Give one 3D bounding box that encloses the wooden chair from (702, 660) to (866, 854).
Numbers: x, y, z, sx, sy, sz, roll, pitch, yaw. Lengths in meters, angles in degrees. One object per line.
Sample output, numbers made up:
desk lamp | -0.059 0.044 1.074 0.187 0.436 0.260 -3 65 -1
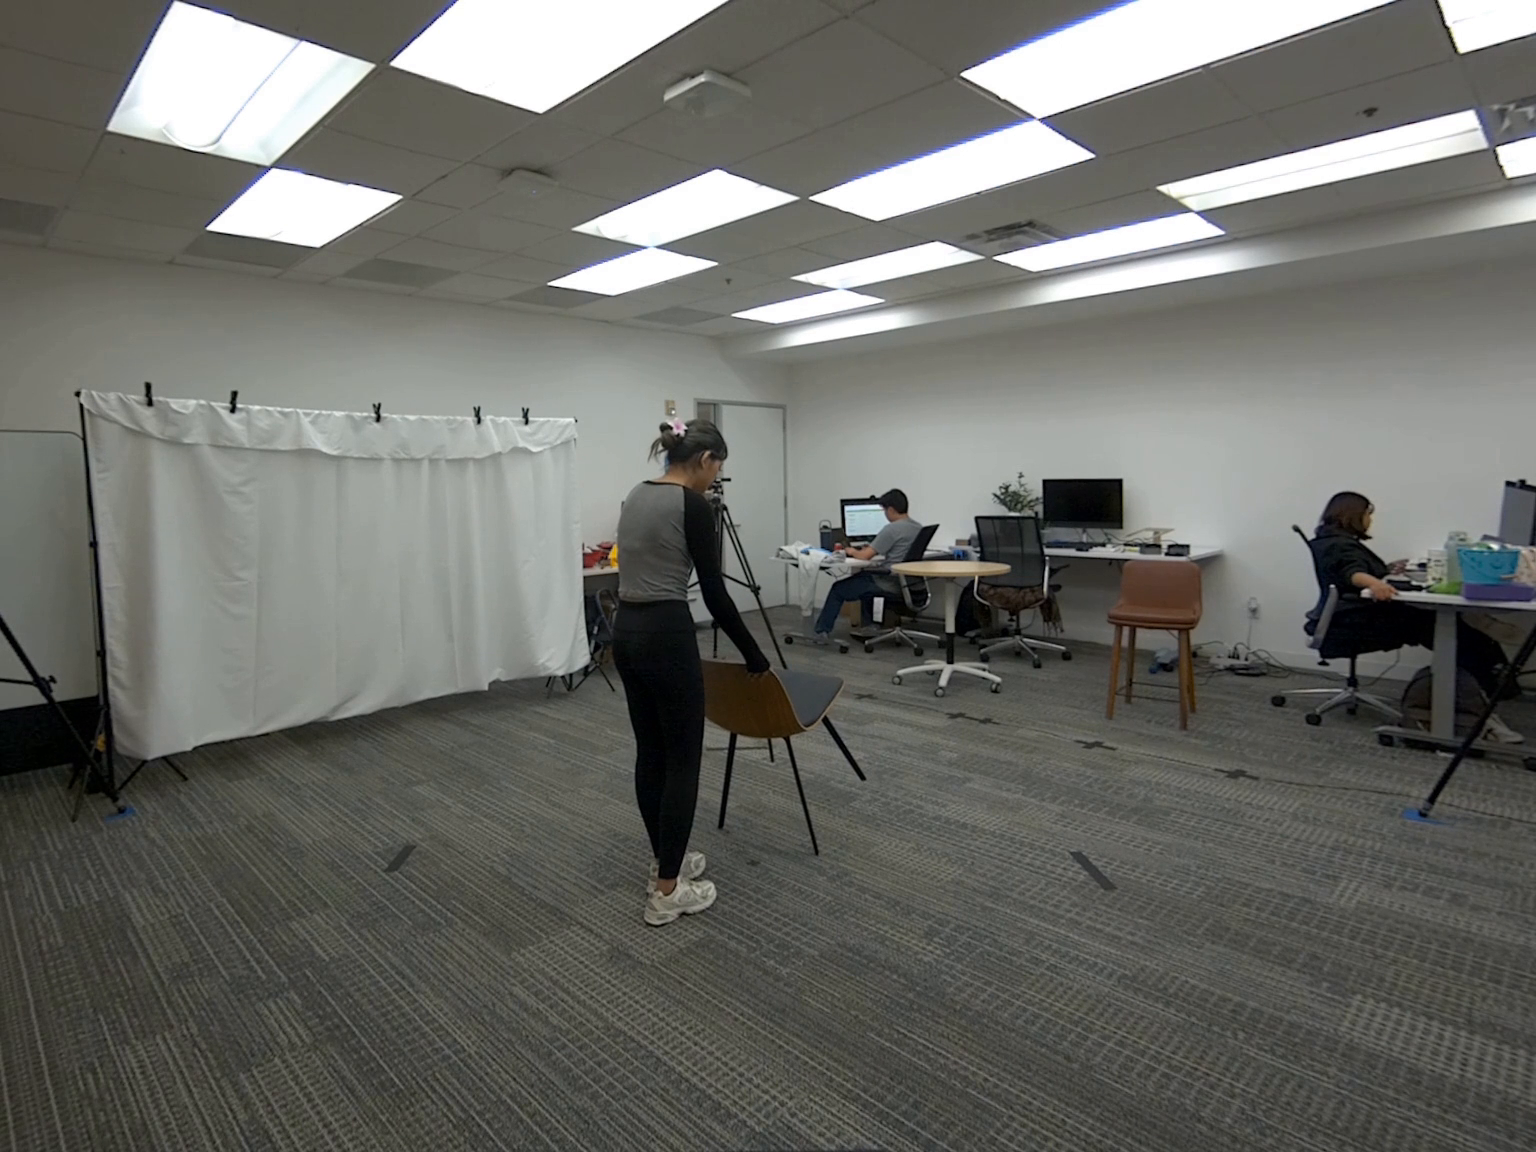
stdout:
wooden chair | 0.023 0.539 3.317 0.491 0.855 0.522 2 30 33
